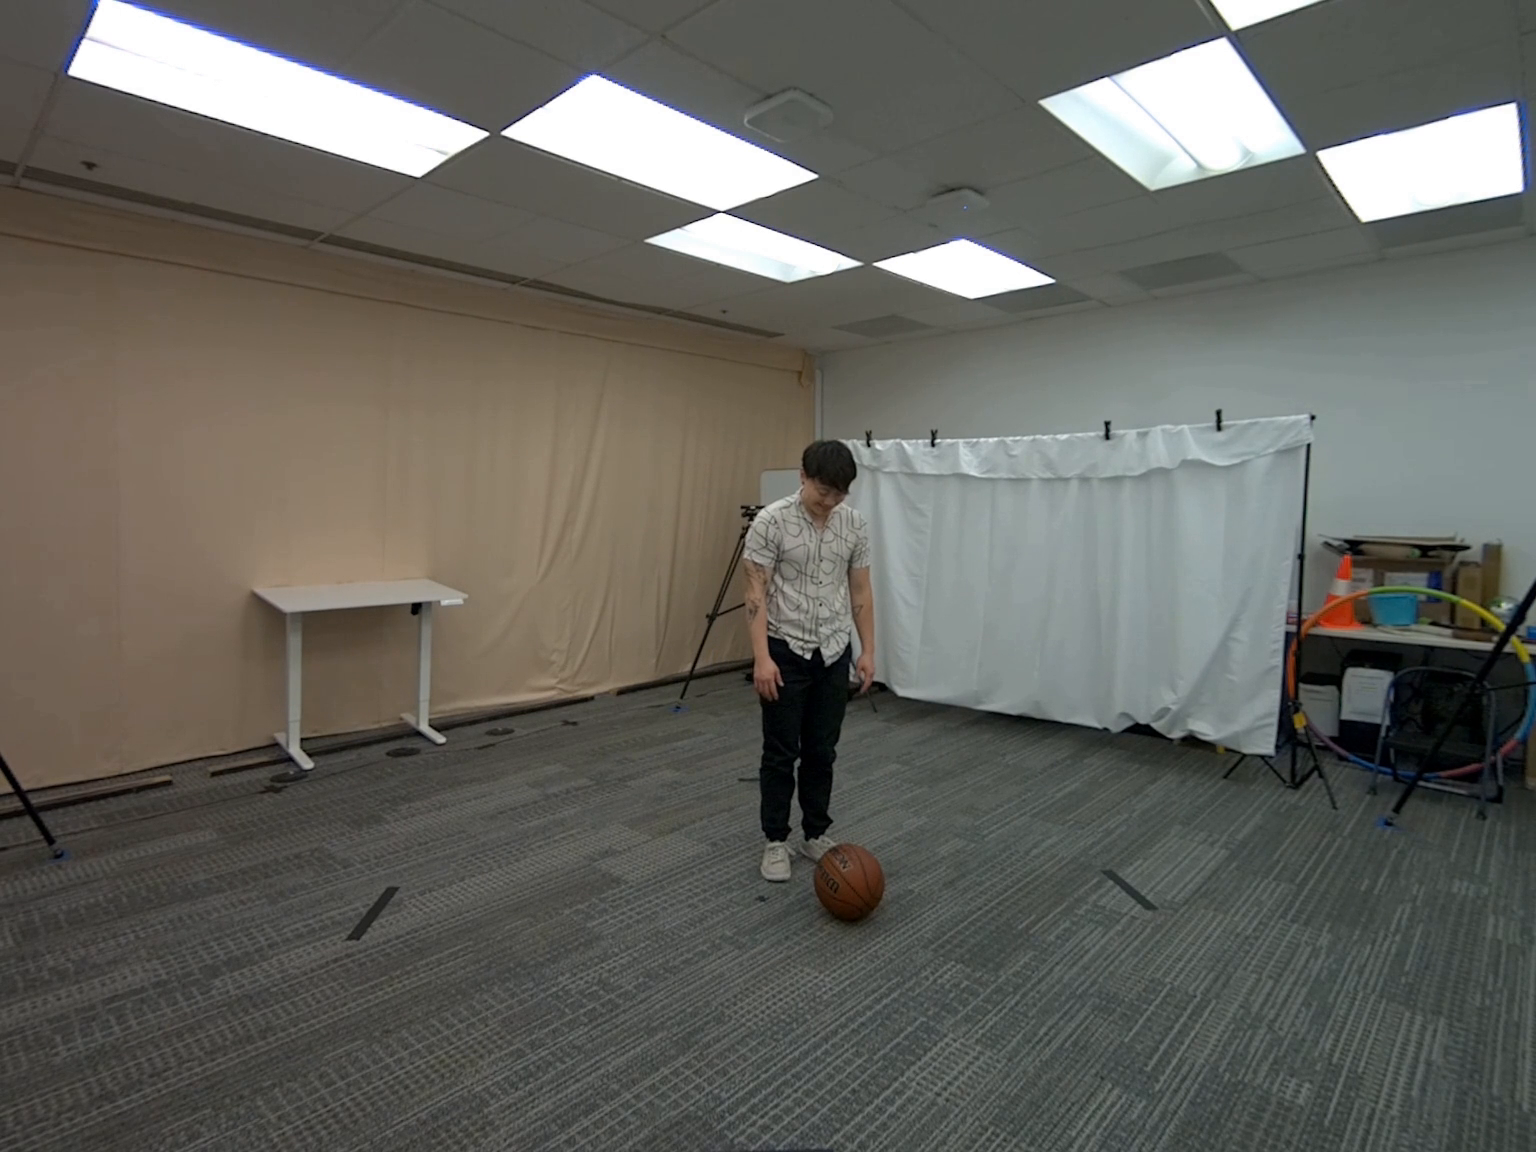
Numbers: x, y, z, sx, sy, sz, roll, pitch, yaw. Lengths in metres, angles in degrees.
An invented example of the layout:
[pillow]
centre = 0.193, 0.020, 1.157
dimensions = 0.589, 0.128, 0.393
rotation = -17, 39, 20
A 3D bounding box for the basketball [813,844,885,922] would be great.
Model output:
[basketball]
centre = 0.285, 1.027, 2.855
dimensions = 0.236, 0.235, 0.237
rotation = 0, 4, -2
